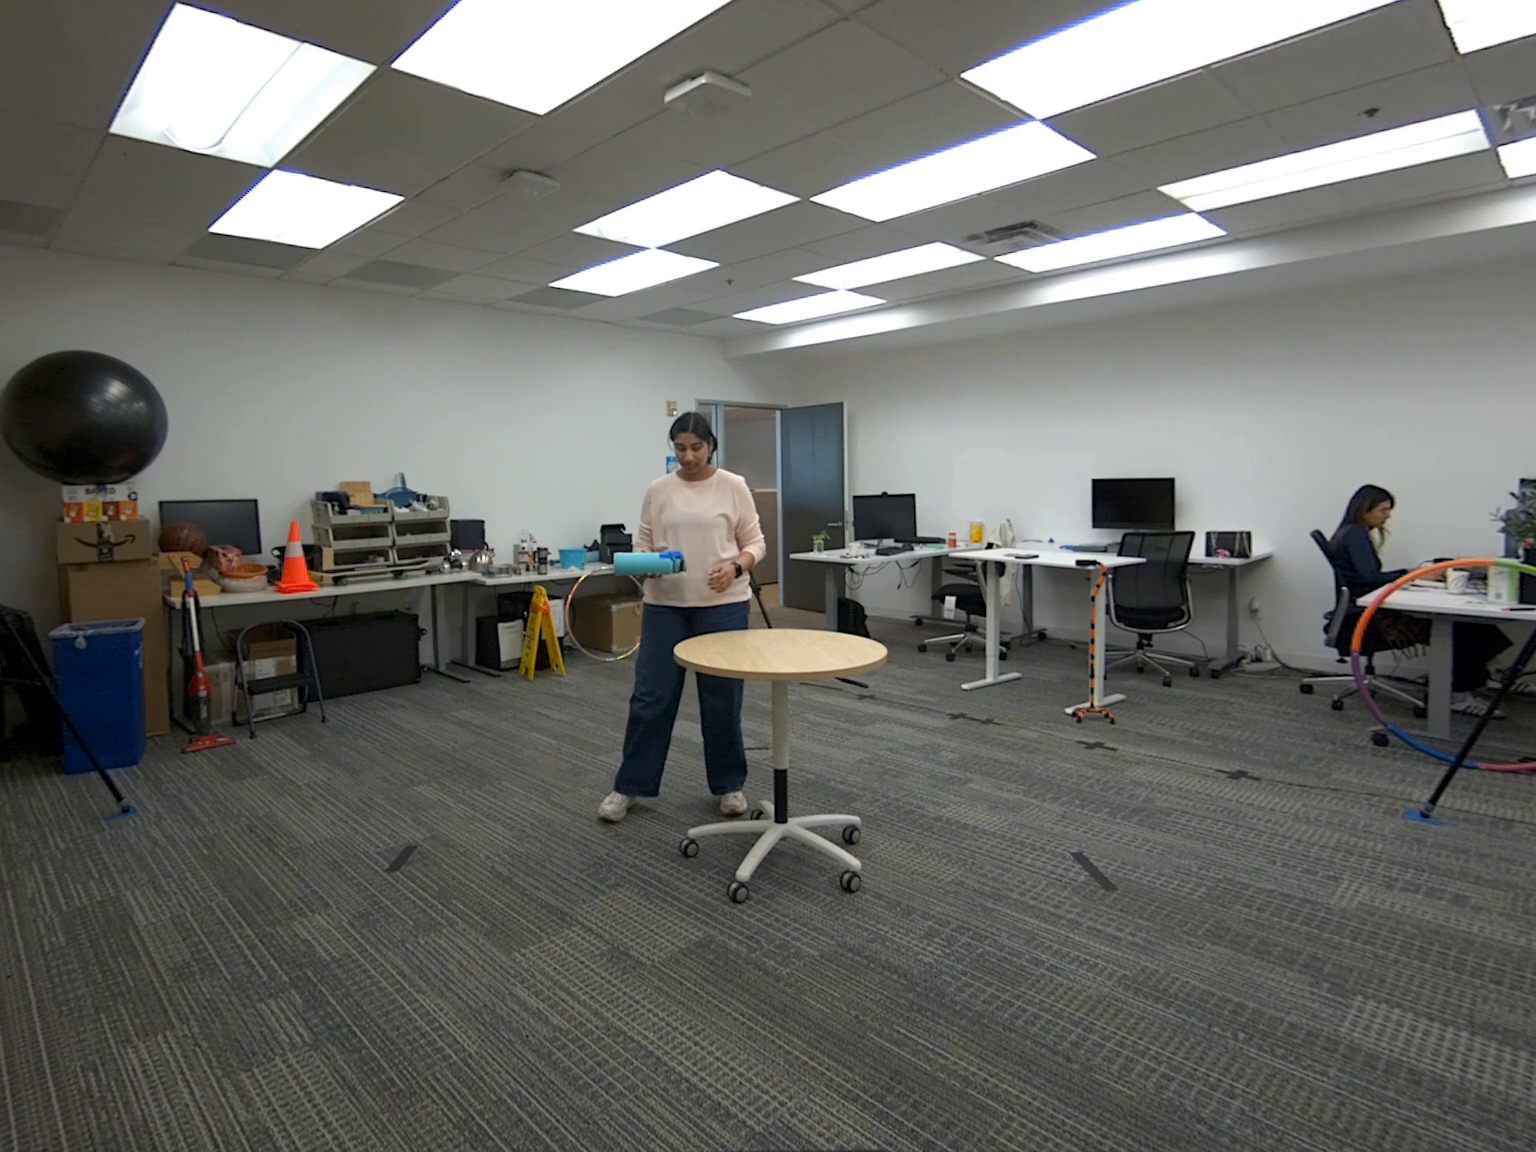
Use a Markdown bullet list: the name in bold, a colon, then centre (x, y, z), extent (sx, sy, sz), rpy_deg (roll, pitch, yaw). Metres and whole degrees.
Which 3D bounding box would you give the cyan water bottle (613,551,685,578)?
- **cyan water bottle**: centre (-0.467, -0.044, 3.339), extent (0.282, 0.092, 0.093), rpy_deg (-1, 5, -6)
